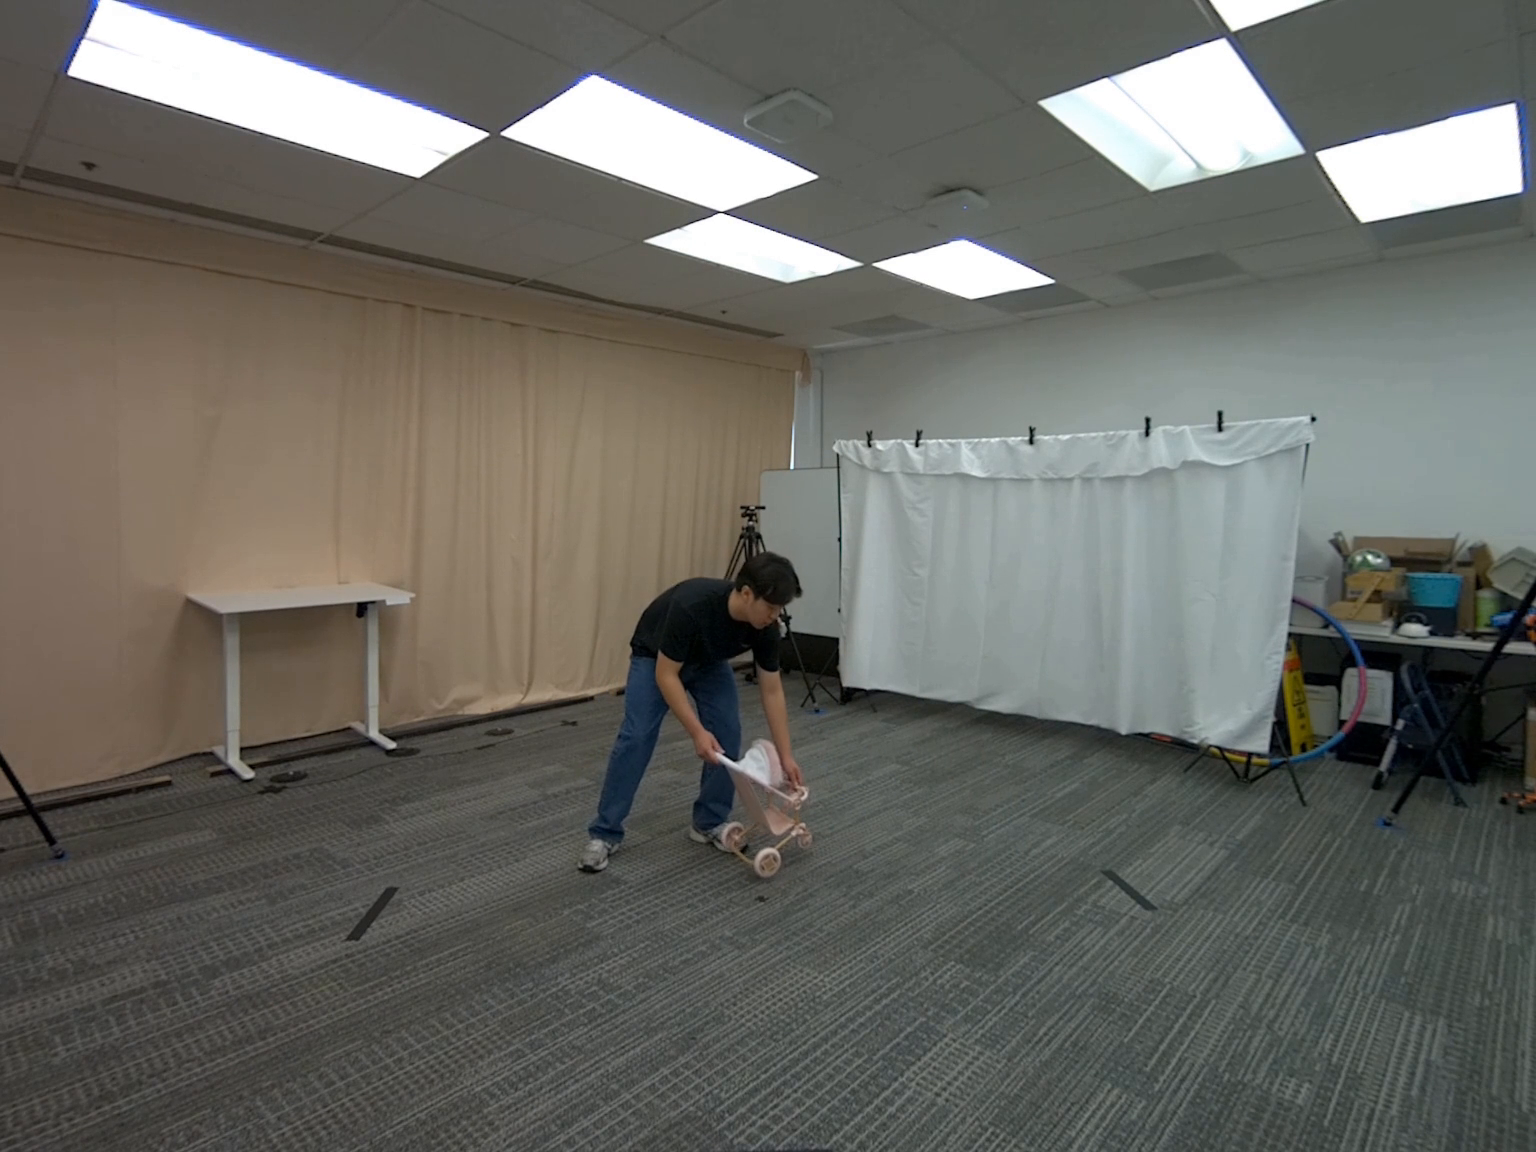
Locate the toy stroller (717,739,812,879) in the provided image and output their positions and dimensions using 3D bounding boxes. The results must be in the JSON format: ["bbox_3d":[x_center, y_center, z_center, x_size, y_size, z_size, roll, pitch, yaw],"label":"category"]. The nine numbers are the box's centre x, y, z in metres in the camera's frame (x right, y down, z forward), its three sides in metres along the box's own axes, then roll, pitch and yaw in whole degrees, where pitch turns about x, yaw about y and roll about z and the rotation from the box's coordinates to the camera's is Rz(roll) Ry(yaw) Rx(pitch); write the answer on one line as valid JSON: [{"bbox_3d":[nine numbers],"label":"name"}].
[{"bbox_3d":[-0.005,0.851,3.213,0.335,0.530,0.289,-17,13,-25],"label":"toy stroller"}]
